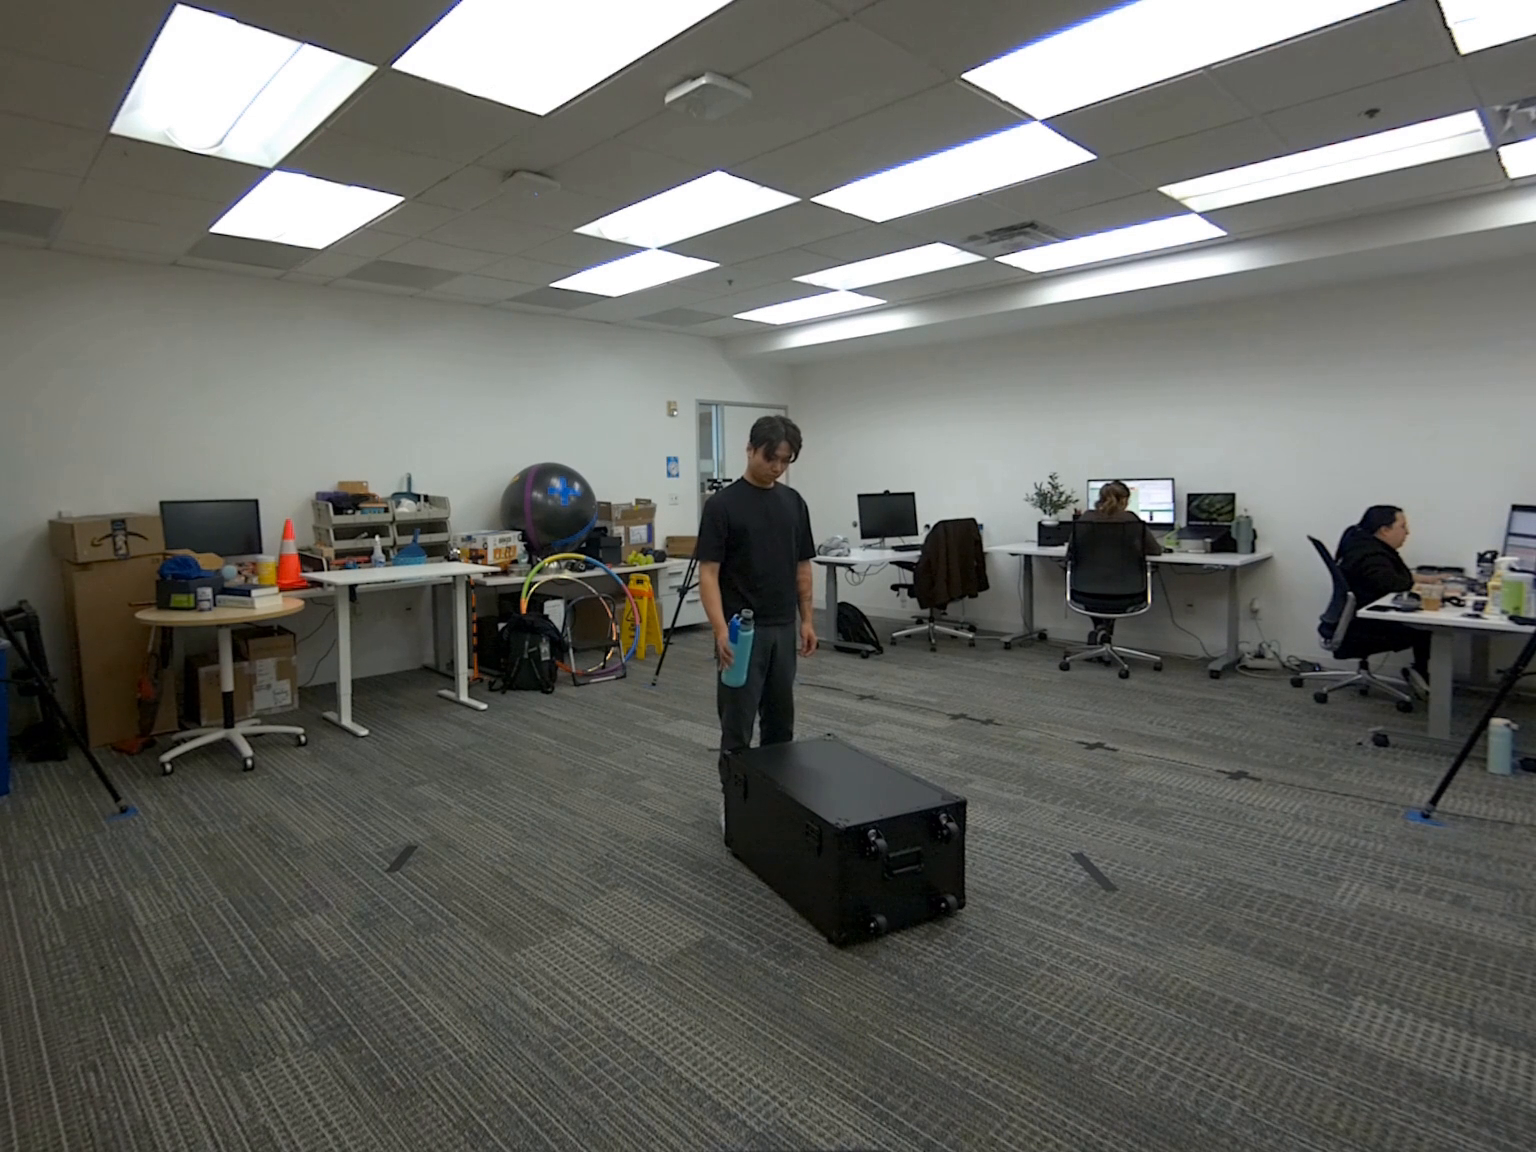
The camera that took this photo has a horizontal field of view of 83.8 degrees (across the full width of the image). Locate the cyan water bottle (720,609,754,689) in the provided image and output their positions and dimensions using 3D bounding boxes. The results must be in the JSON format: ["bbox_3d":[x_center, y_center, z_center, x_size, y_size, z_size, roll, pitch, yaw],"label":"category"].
[{"bbox_3d":[-0.113,0.263,3.113,0.092,0.278,0.094,6,24,-5],"label":"cyan water bottle"}]
